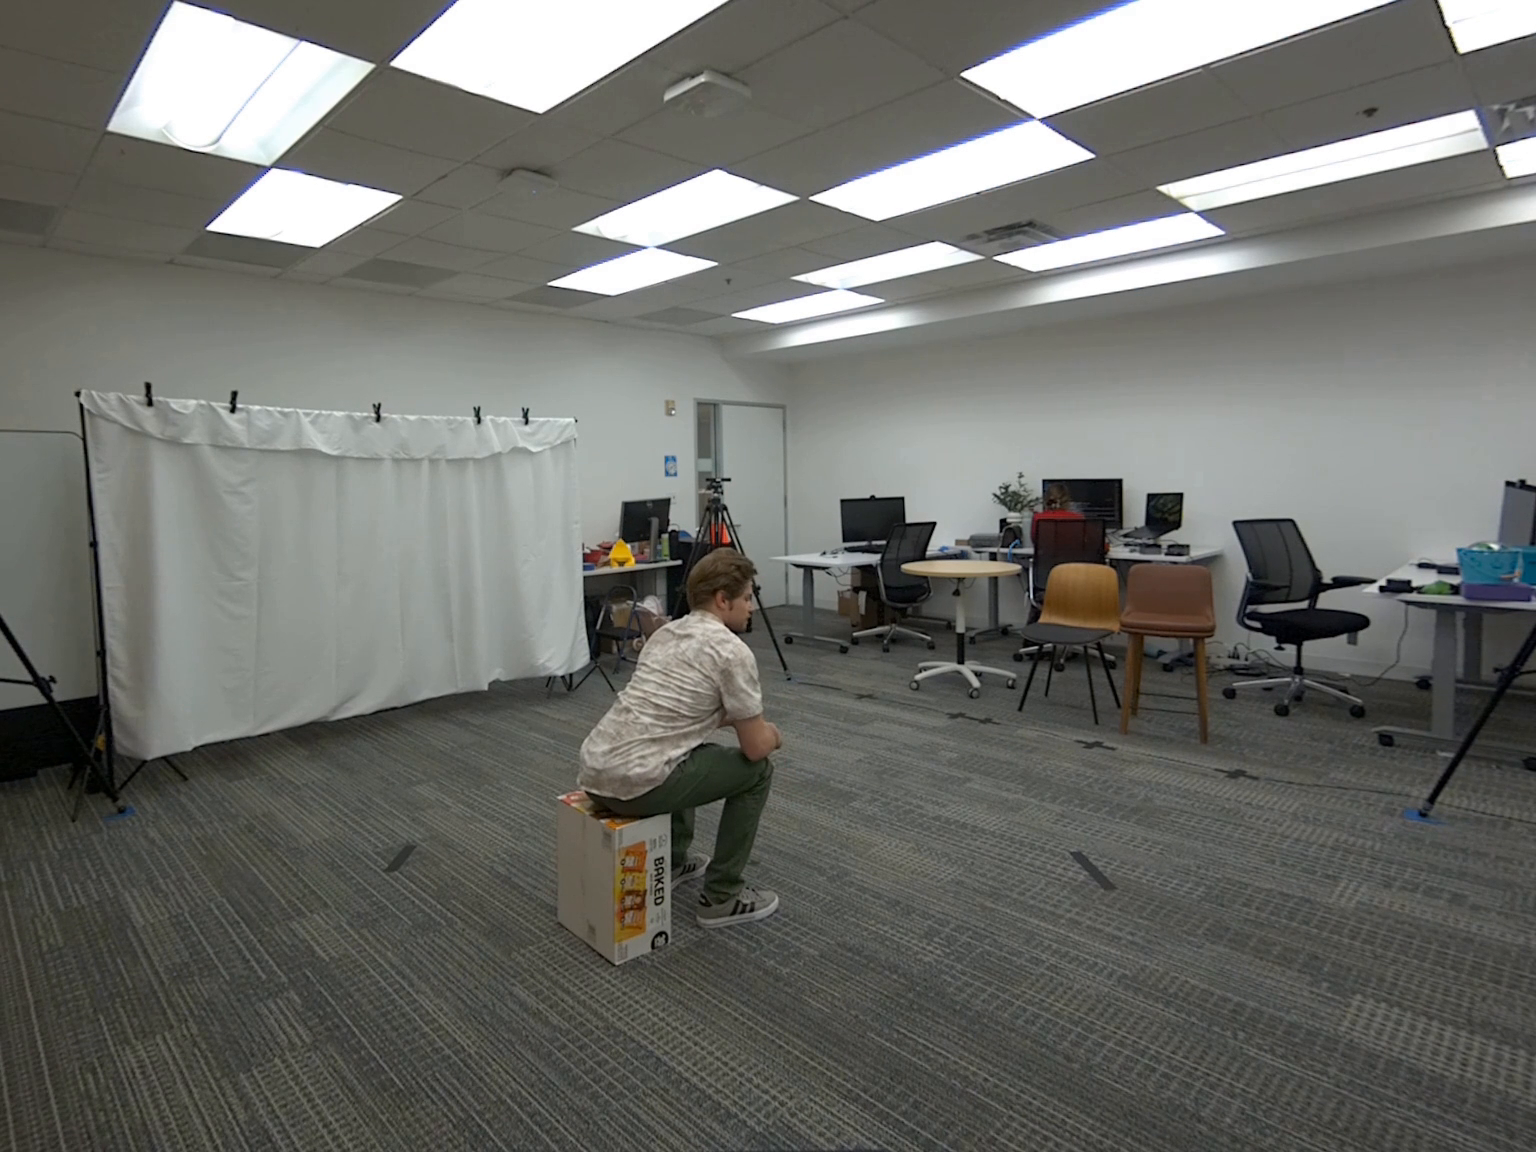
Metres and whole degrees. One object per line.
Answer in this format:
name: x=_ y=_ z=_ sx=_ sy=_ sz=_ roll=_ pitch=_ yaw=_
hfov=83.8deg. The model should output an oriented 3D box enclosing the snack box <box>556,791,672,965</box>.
snack box: x=-0.478 y=0.905 z=2.640 sx=0.200 sy=0.404 sz=0.351 roll=-2 pitch=5 yaw=-42
